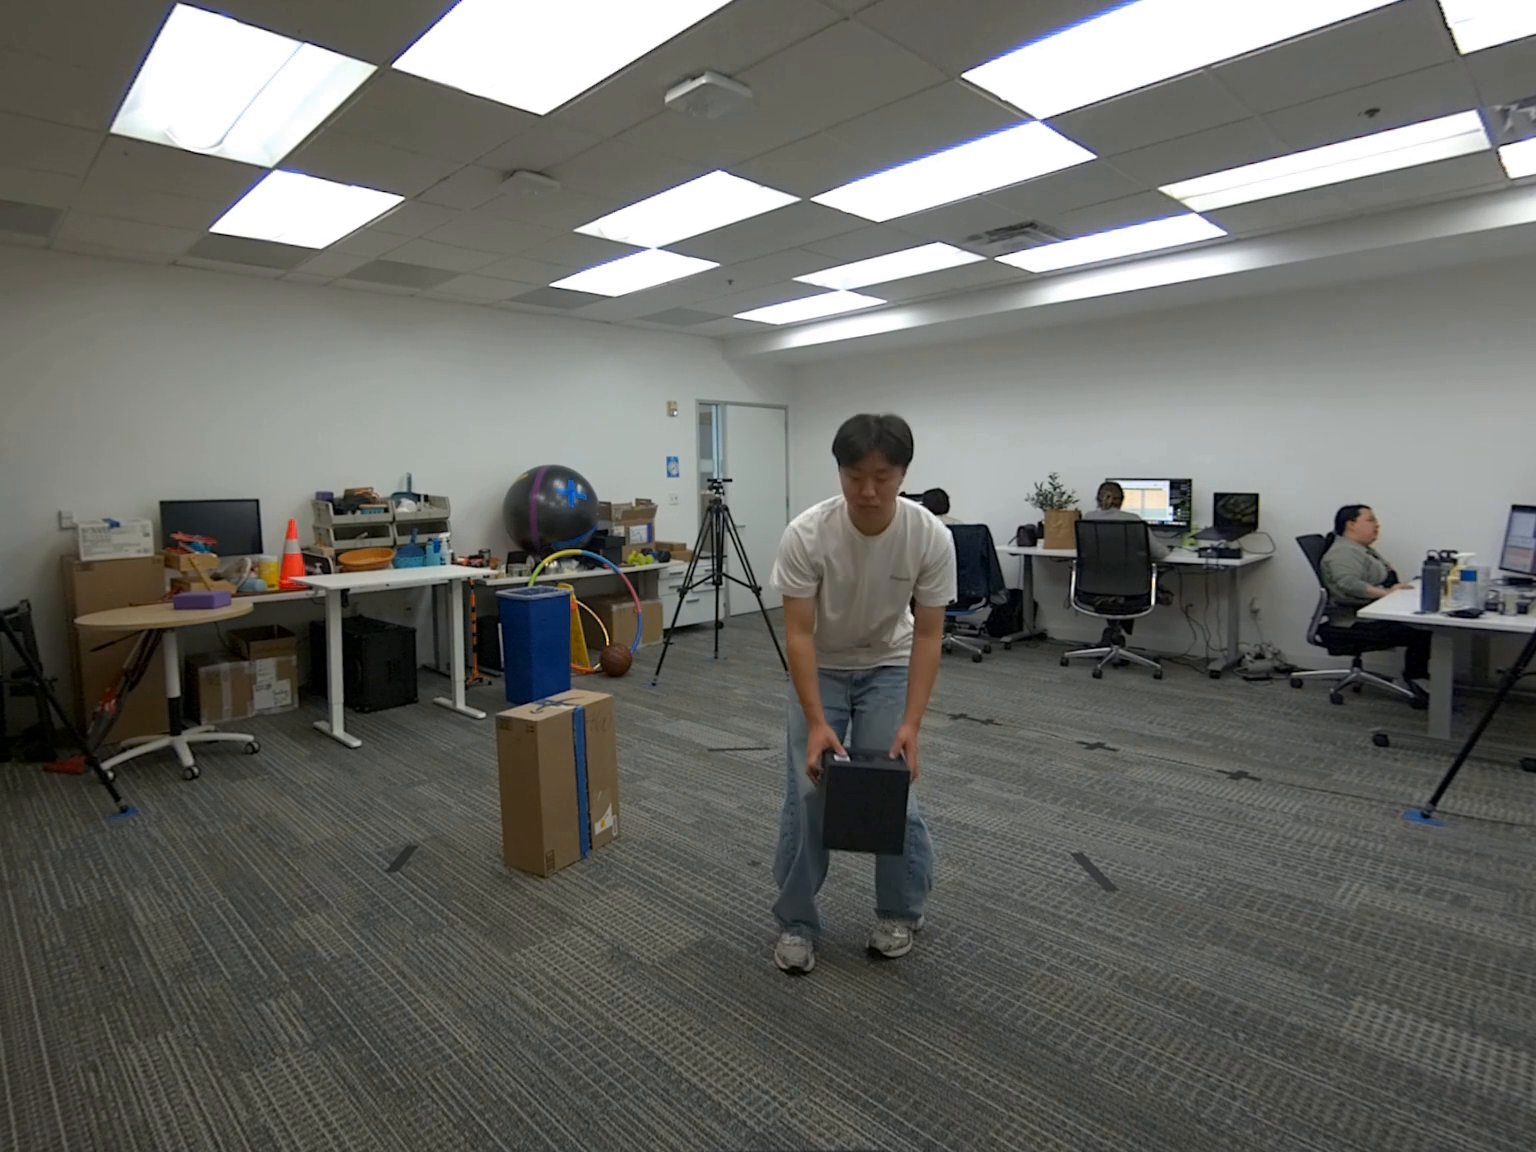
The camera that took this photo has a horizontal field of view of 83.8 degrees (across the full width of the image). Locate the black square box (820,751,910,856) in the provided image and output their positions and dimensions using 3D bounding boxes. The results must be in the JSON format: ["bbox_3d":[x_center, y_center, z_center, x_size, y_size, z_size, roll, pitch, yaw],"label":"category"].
[{"bbox_3d":[0.254,0.607,2.272,0.217,0.227,0.156,2,6,2],"label":"black square box"}]
